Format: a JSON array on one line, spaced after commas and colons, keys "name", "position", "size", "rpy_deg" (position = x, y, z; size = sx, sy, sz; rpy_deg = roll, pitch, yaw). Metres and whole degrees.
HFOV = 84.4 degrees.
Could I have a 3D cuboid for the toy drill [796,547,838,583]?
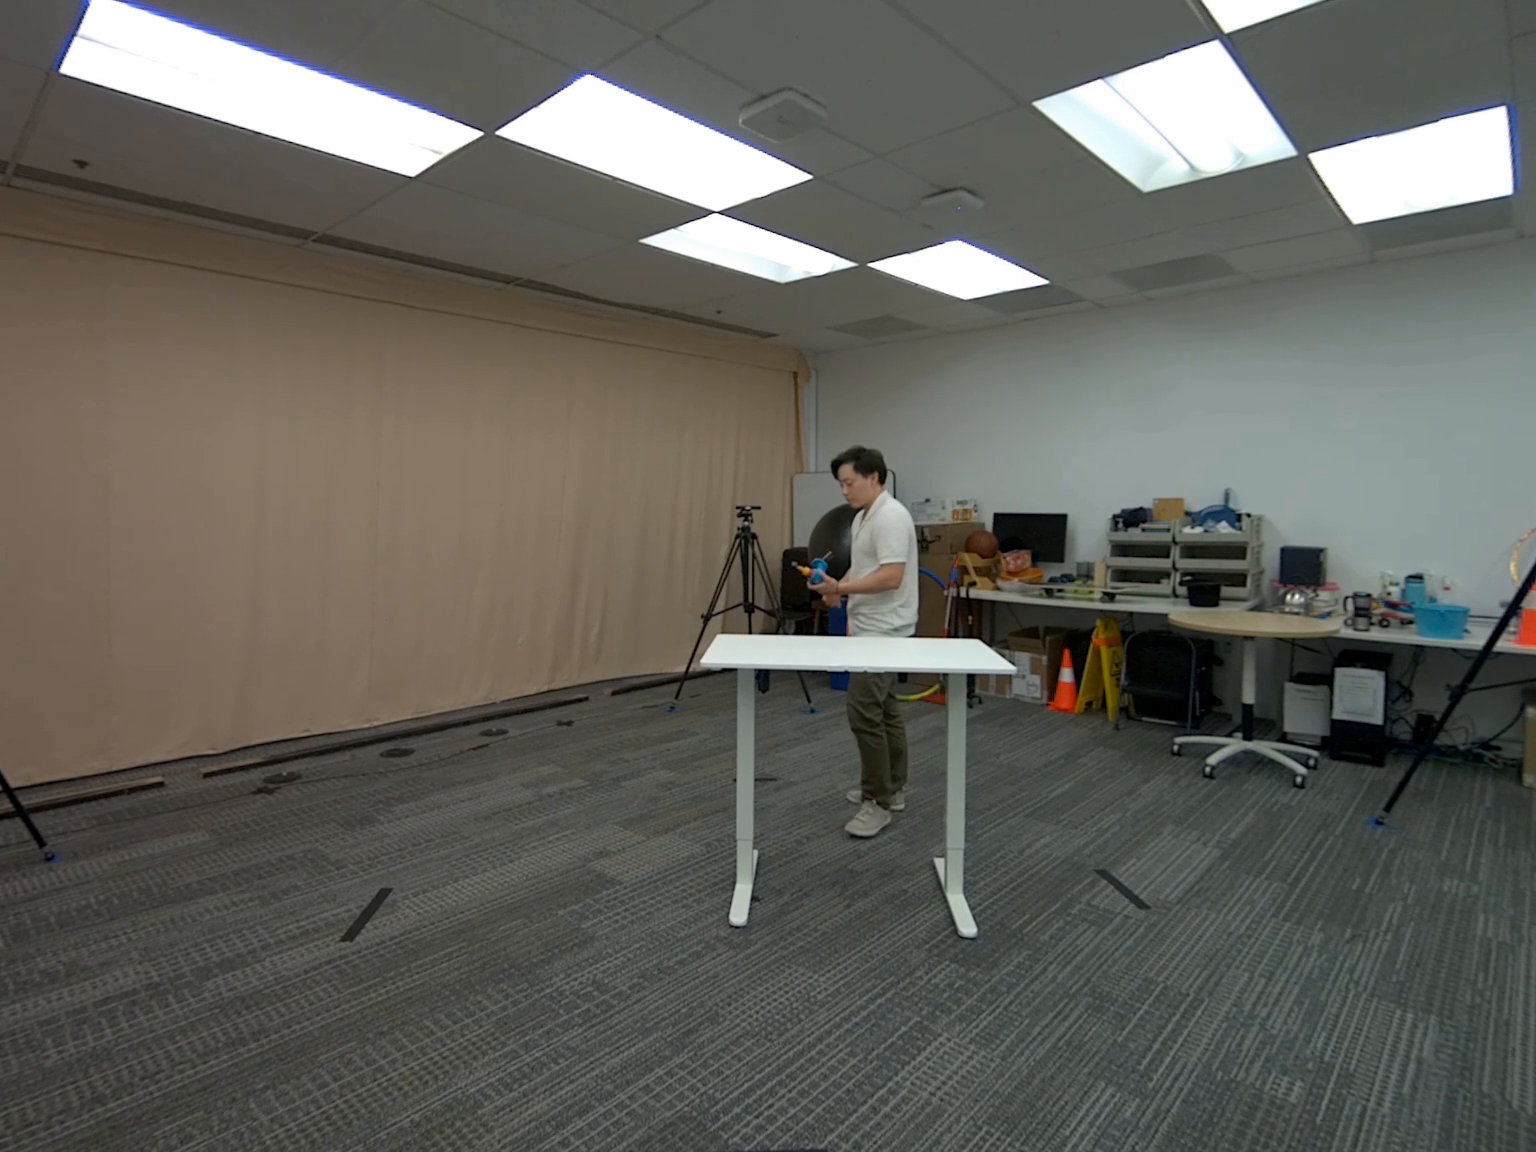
[{"name": "toy drill", "position": [0.210, -0.029, 3.717], "size": [0.167, 0.061, 0.148], "rpy_deg": [26, 33, -15]}]
